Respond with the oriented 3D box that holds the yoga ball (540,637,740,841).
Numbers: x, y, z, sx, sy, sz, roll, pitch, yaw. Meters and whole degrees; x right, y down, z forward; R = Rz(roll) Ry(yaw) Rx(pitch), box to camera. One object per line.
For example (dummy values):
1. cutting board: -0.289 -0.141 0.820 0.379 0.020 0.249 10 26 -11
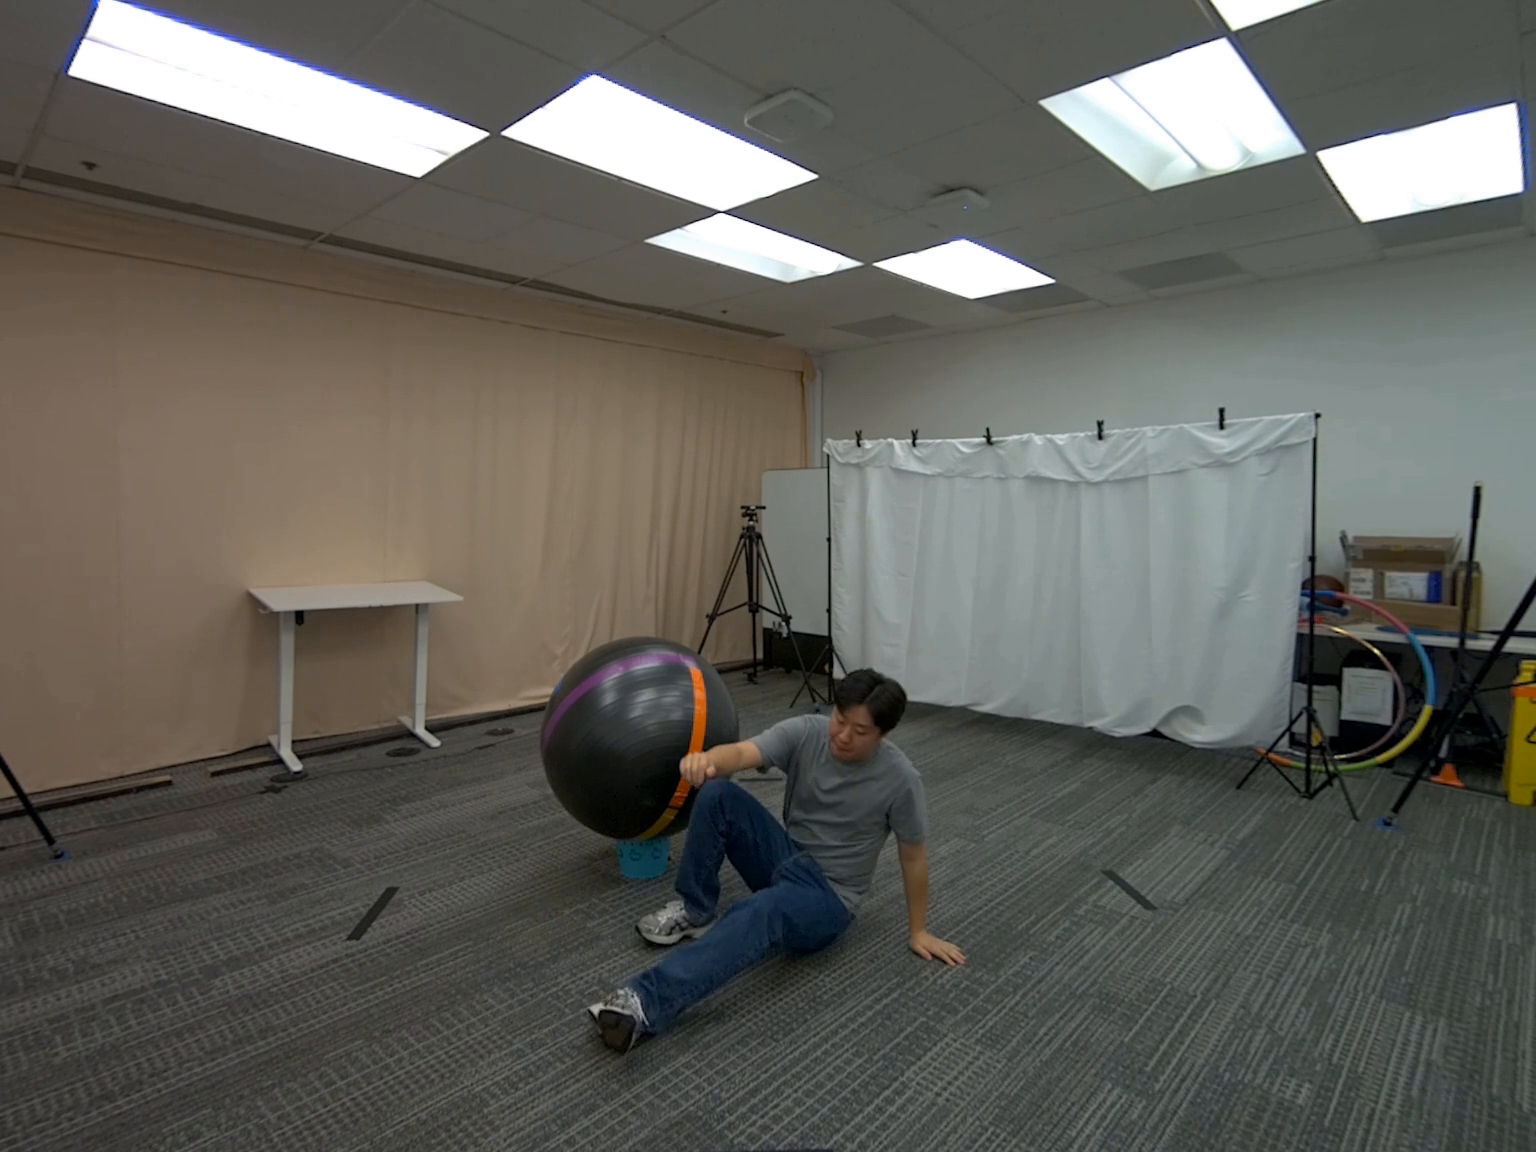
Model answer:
1. yoga ball: -0.489 0.615 3.216 0.757 0.756 0.760 0 4 -2
